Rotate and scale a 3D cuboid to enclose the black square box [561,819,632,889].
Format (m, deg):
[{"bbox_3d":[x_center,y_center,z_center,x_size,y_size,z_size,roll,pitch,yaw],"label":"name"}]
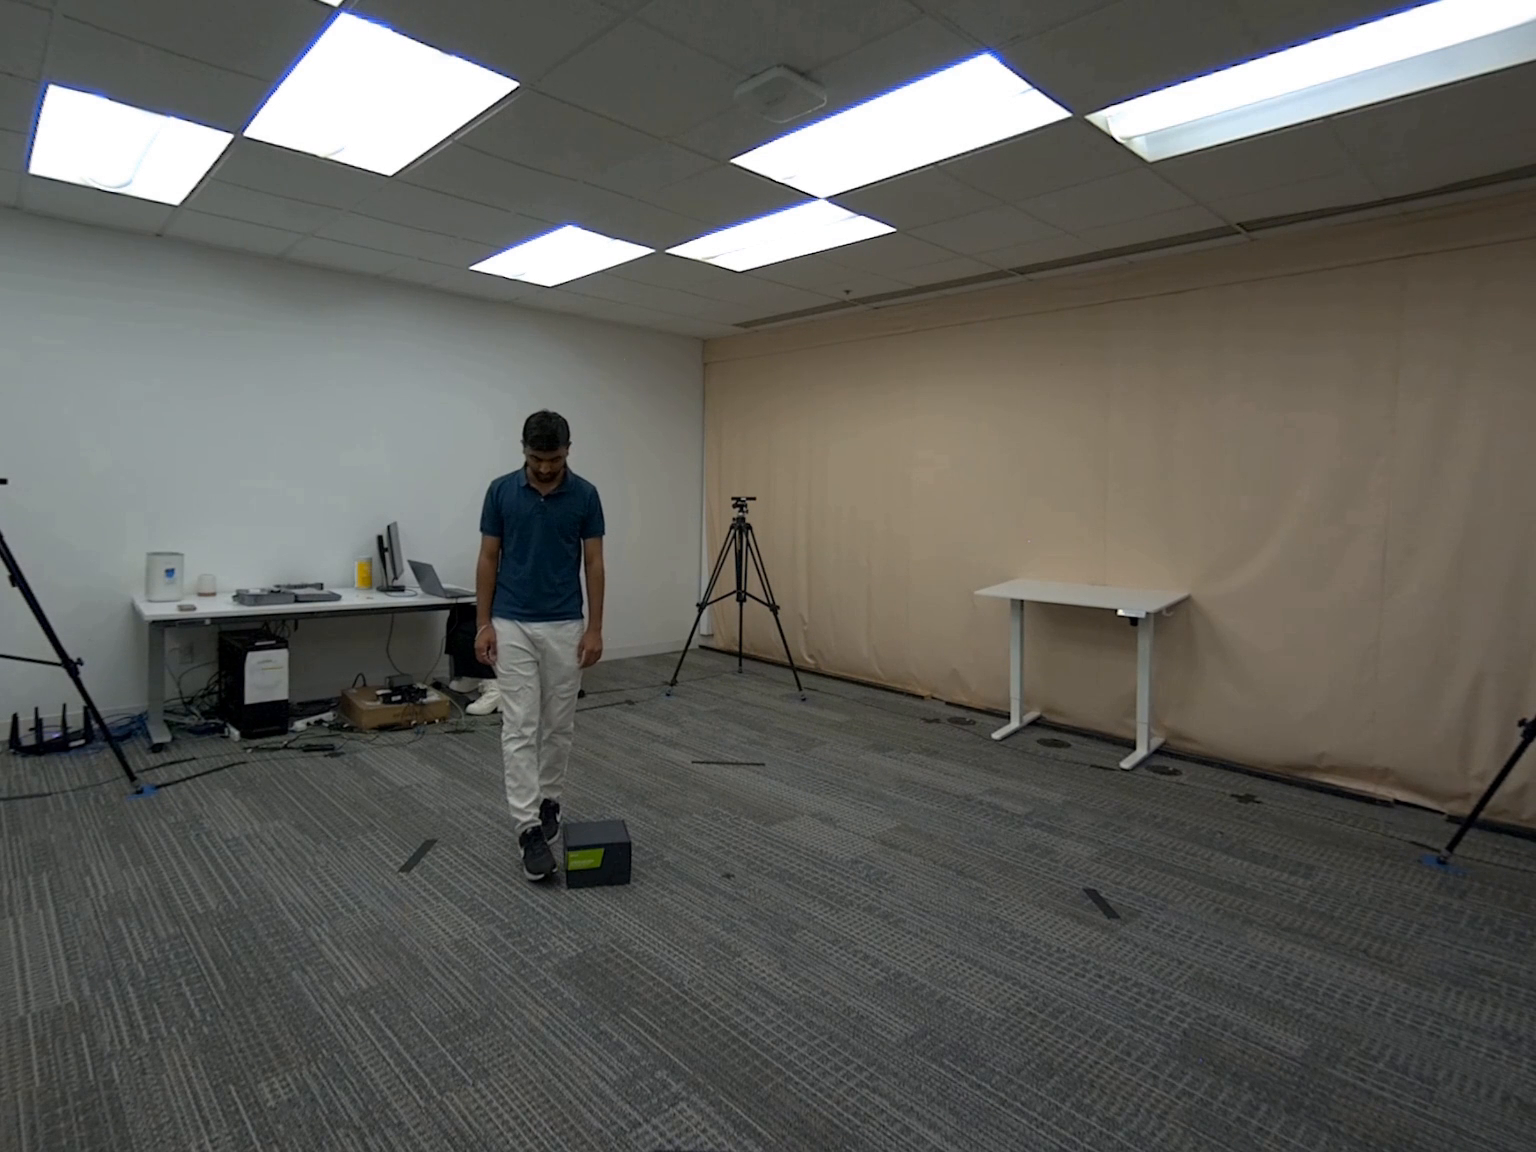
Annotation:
[{"bbox_3d":[-0.637,1.018,3.087,0.225,0.155,0.220,0,5,-16],"label":"black square box"}]
